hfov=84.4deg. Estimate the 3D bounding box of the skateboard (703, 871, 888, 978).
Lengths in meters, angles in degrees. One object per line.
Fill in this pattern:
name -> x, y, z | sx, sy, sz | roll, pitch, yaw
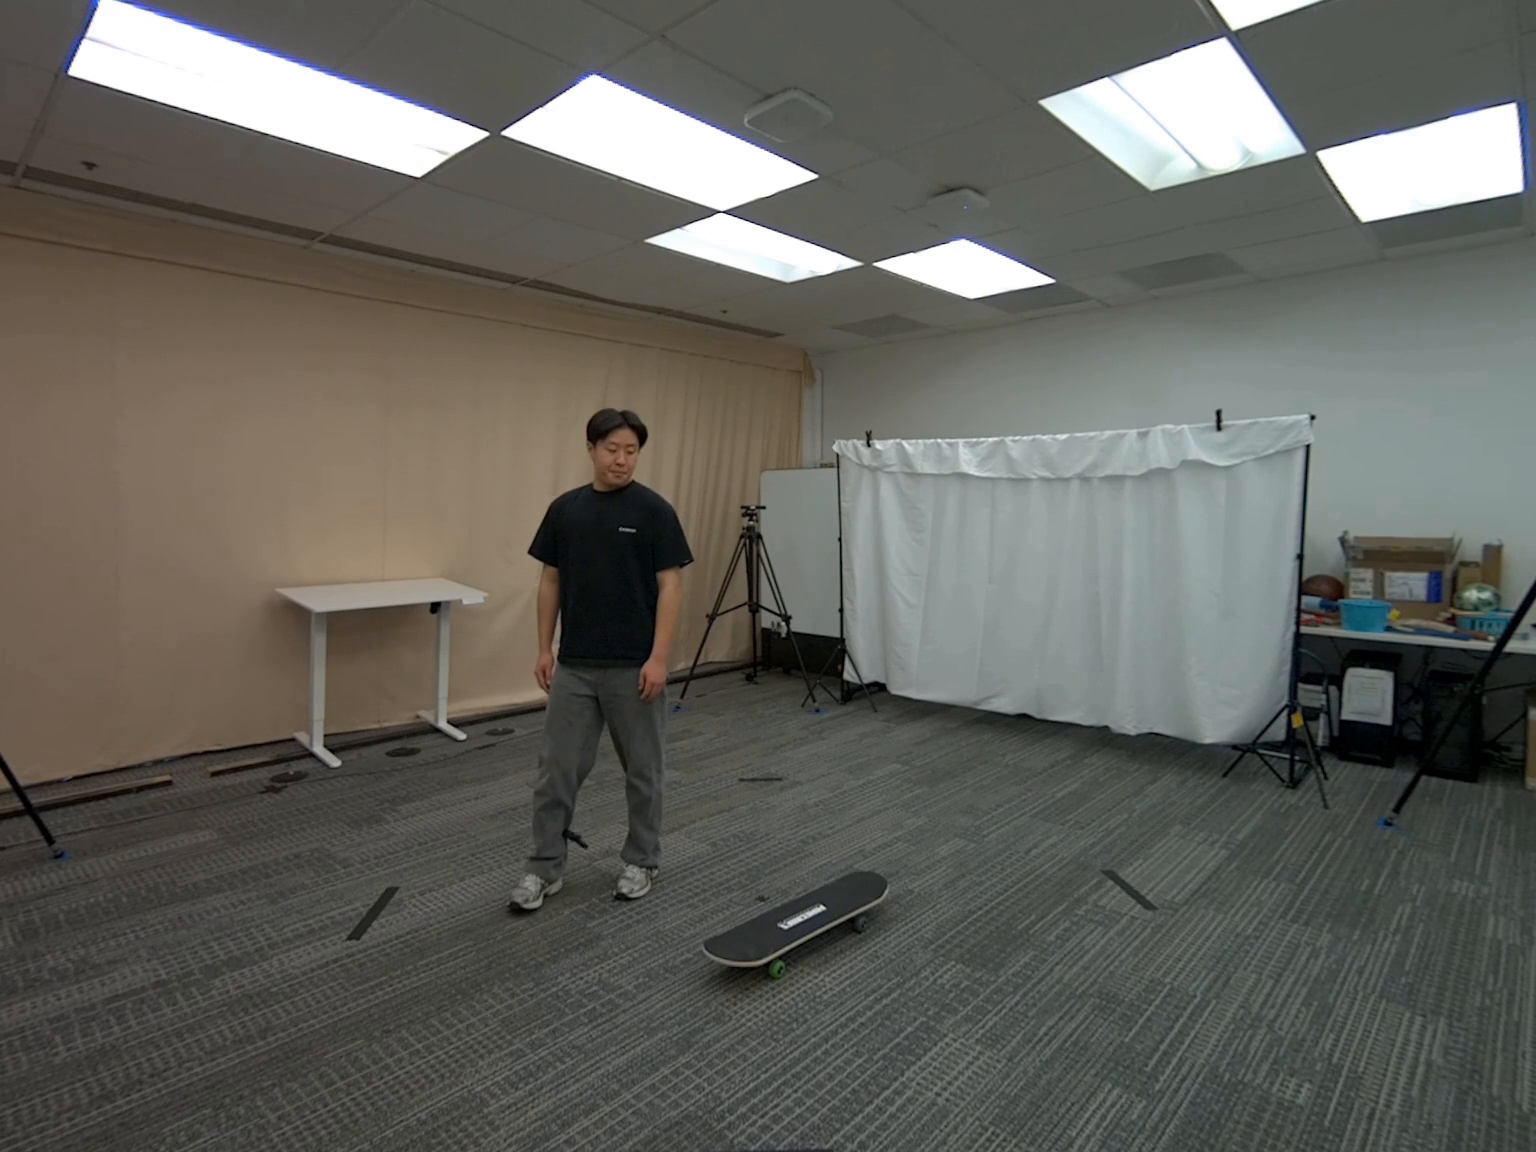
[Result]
skateboard -> 0.110, 1.116, 2.670 | 0.761, 0.110, 0.200 | -4, 6, -44
